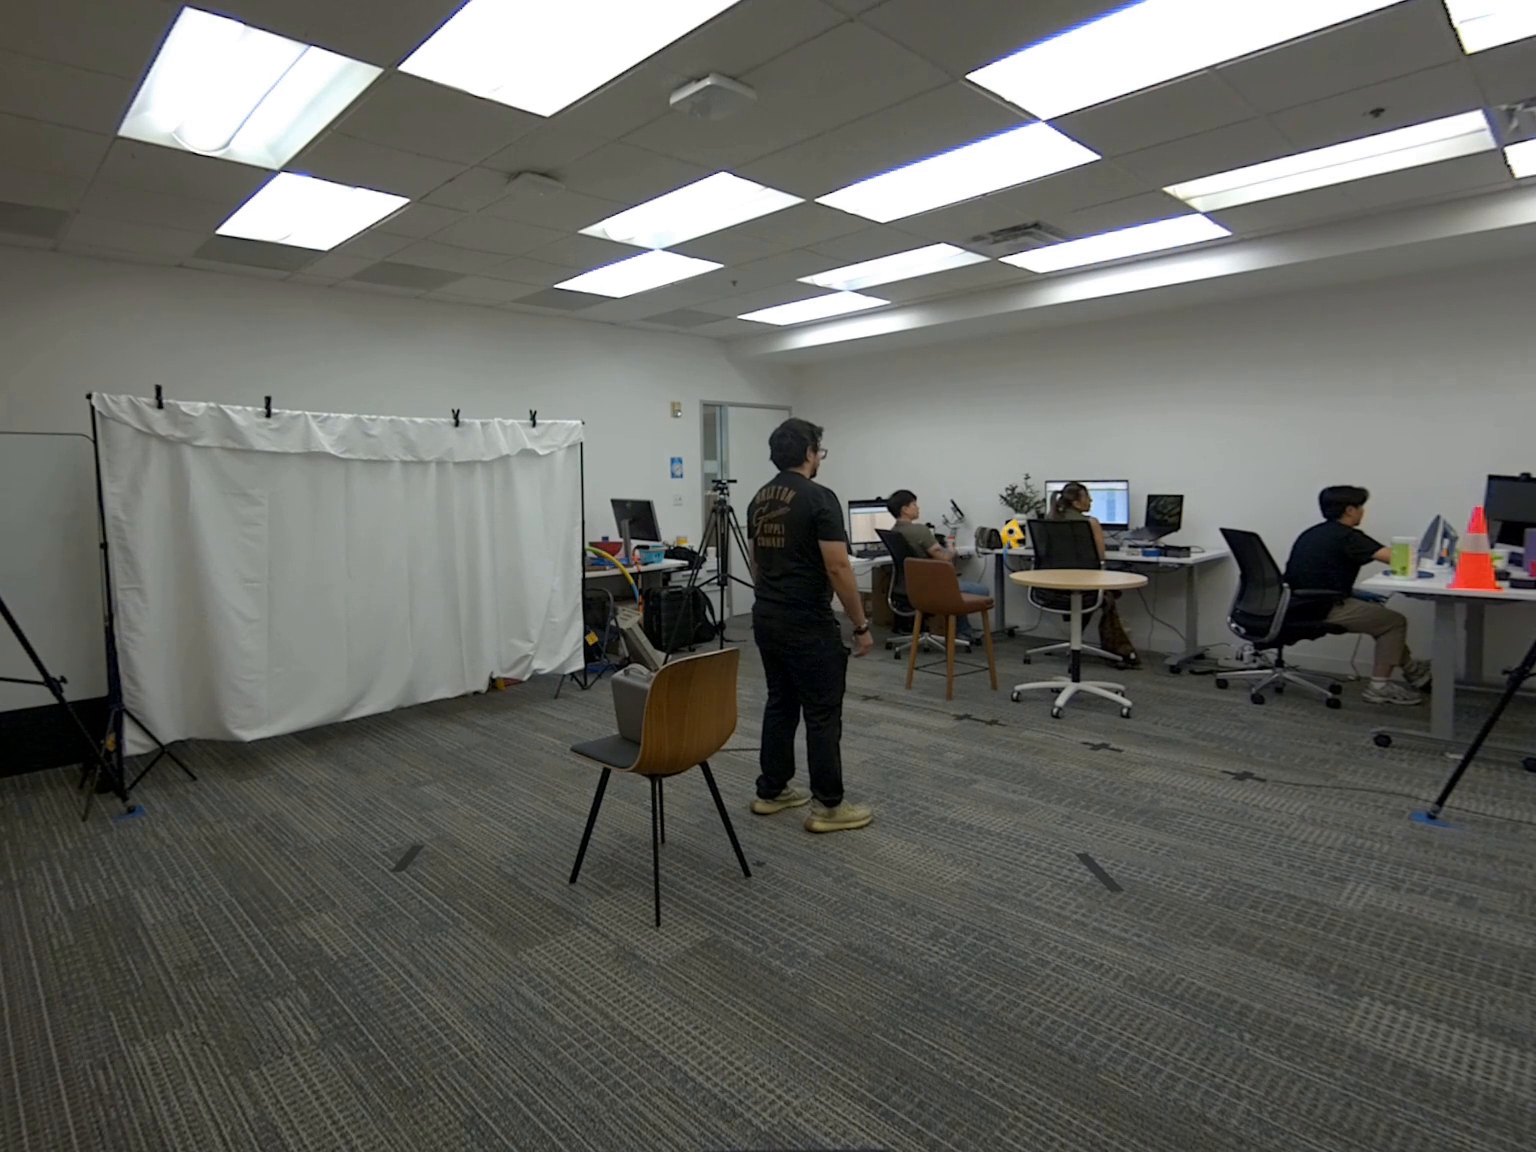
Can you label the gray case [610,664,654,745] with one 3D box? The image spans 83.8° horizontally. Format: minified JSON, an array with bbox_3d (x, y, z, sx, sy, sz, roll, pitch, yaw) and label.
[{"bbox_3d":[-0.424,0.461,3.000,0.265,0.257,0.102,9,21,42],"label":"gray case"}]
